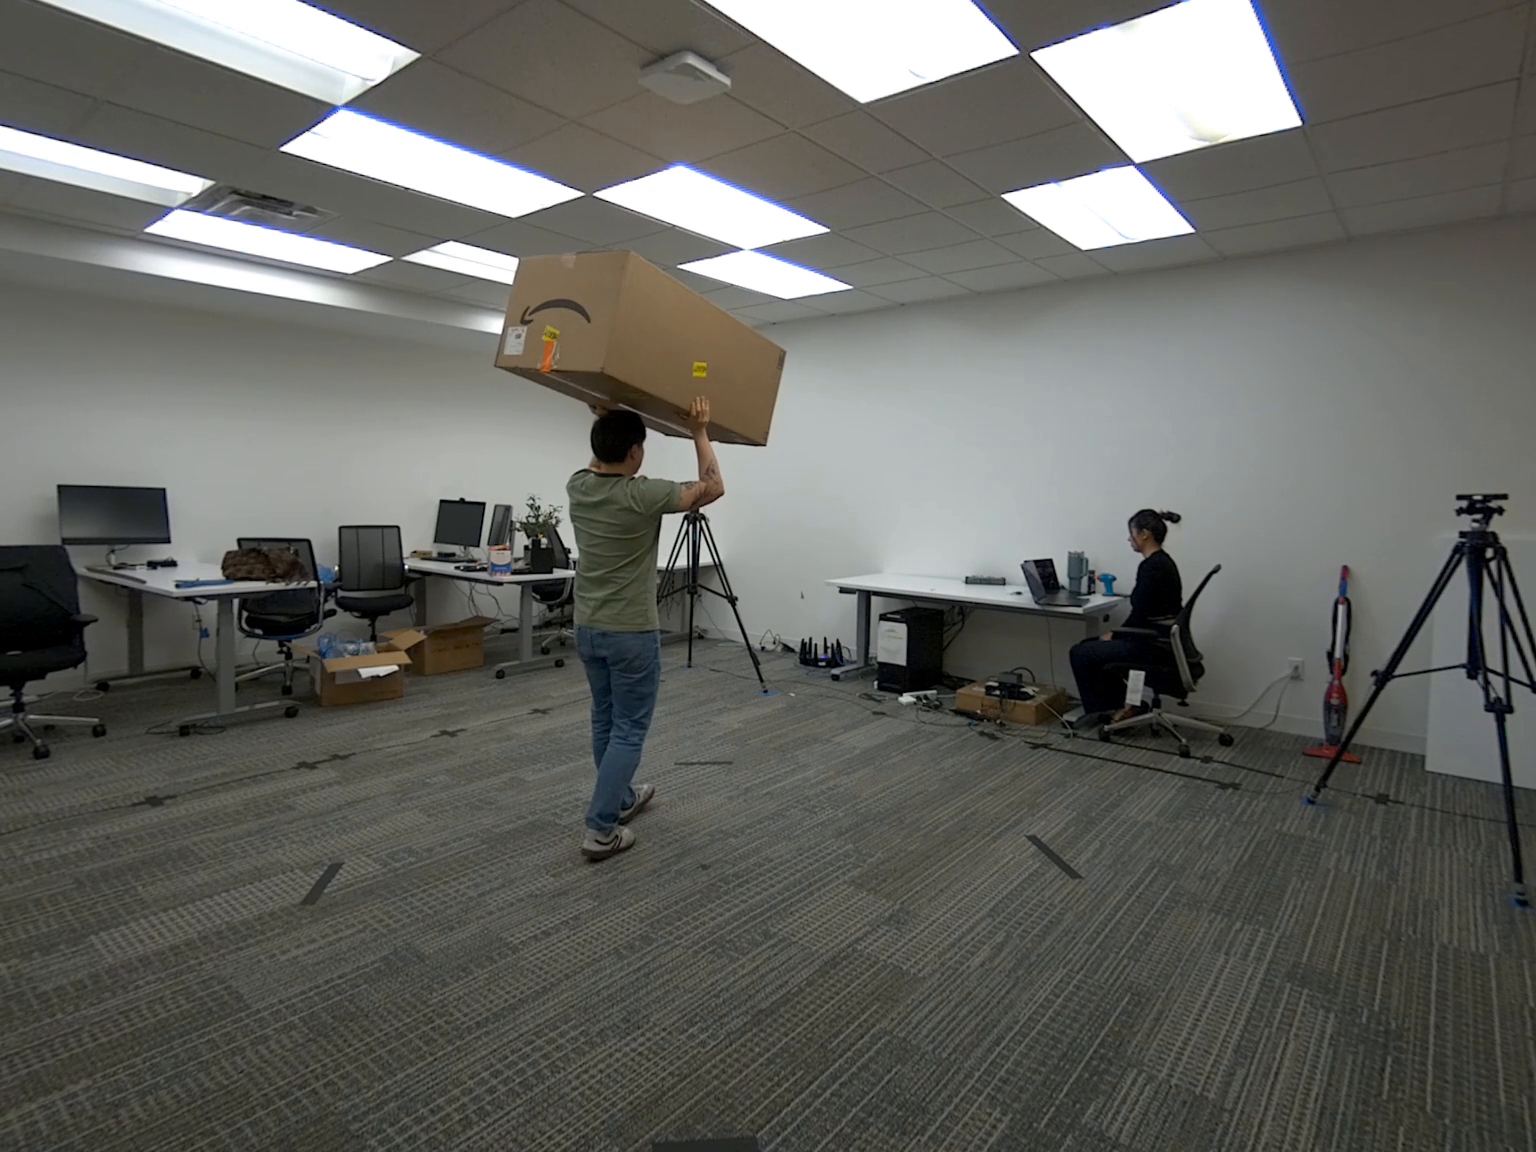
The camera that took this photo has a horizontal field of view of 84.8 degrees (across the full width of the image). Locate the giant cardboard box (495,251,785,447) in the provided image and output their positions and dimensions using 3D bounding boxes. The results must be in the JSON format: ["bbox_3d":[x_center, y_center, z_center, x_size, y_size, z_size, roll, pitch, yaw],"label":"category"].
[{"bbox_3d":[-0.476,-0.858,3.368,0.598,0.426,0.989,12,-1,35],"label":"giant cardboard box"}]
